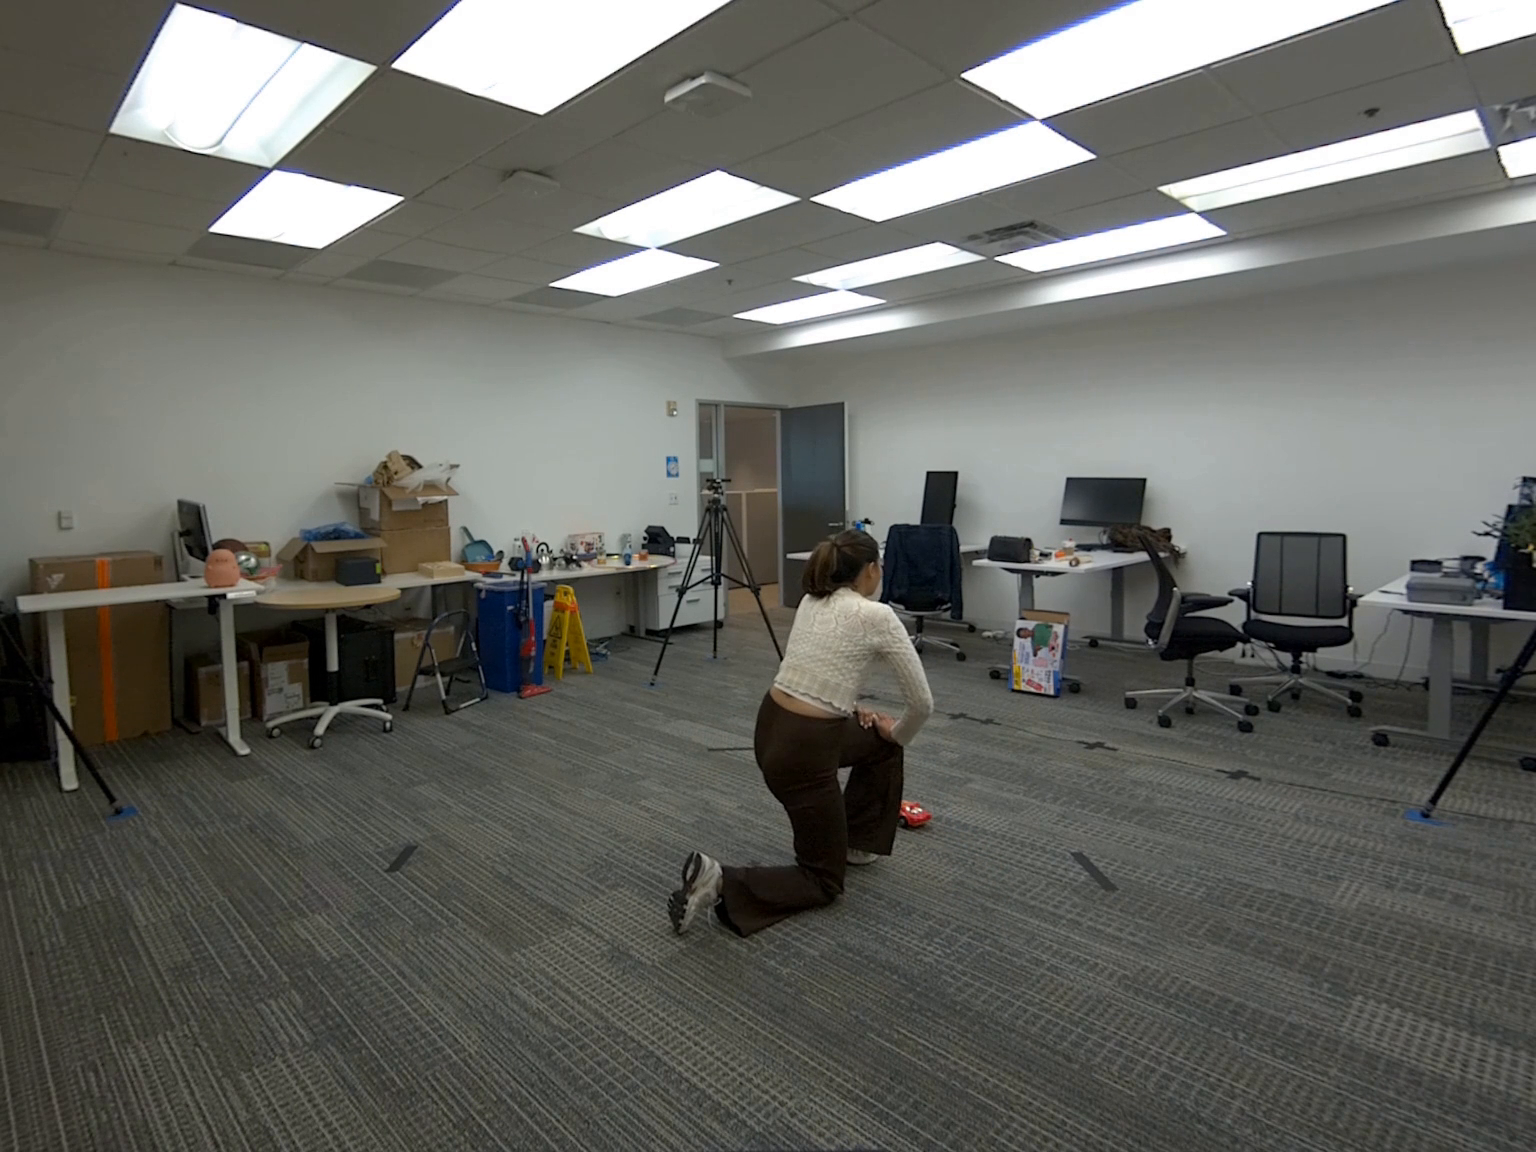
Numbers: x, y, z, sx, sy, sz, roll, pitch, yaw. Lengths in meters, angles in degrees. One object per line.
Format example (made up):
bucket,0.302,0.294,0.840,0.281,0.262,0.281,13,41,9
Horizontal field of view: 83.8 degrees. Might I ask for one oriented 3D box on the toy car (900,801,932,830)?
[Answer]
toy car,0.554,0.961,3.469,0.127,0.084,0.259,-3,-5,-33
